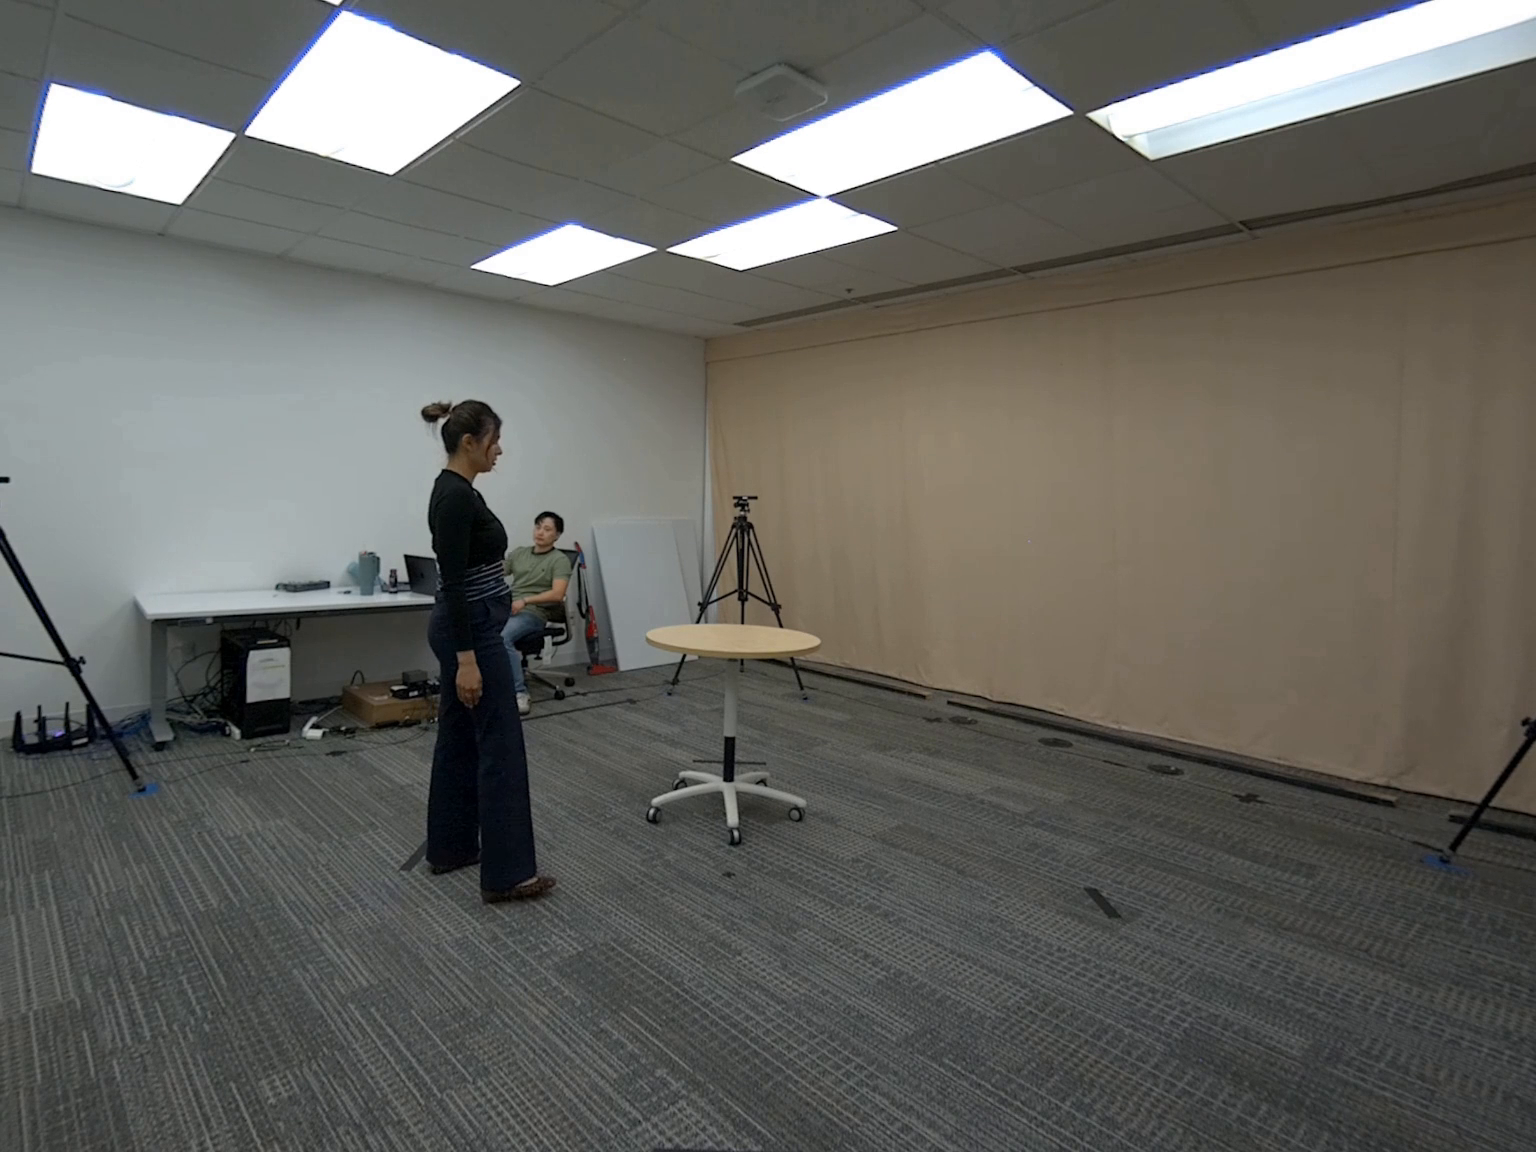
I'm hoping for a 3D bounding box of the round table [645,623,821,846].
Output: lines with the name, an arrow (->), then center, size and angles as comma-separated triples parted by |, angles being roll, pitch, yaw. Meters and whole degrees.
round table -> -0.179, 0.660, 3.713 | 0.763, 0.792, 0.766 | 2, 4, -2
